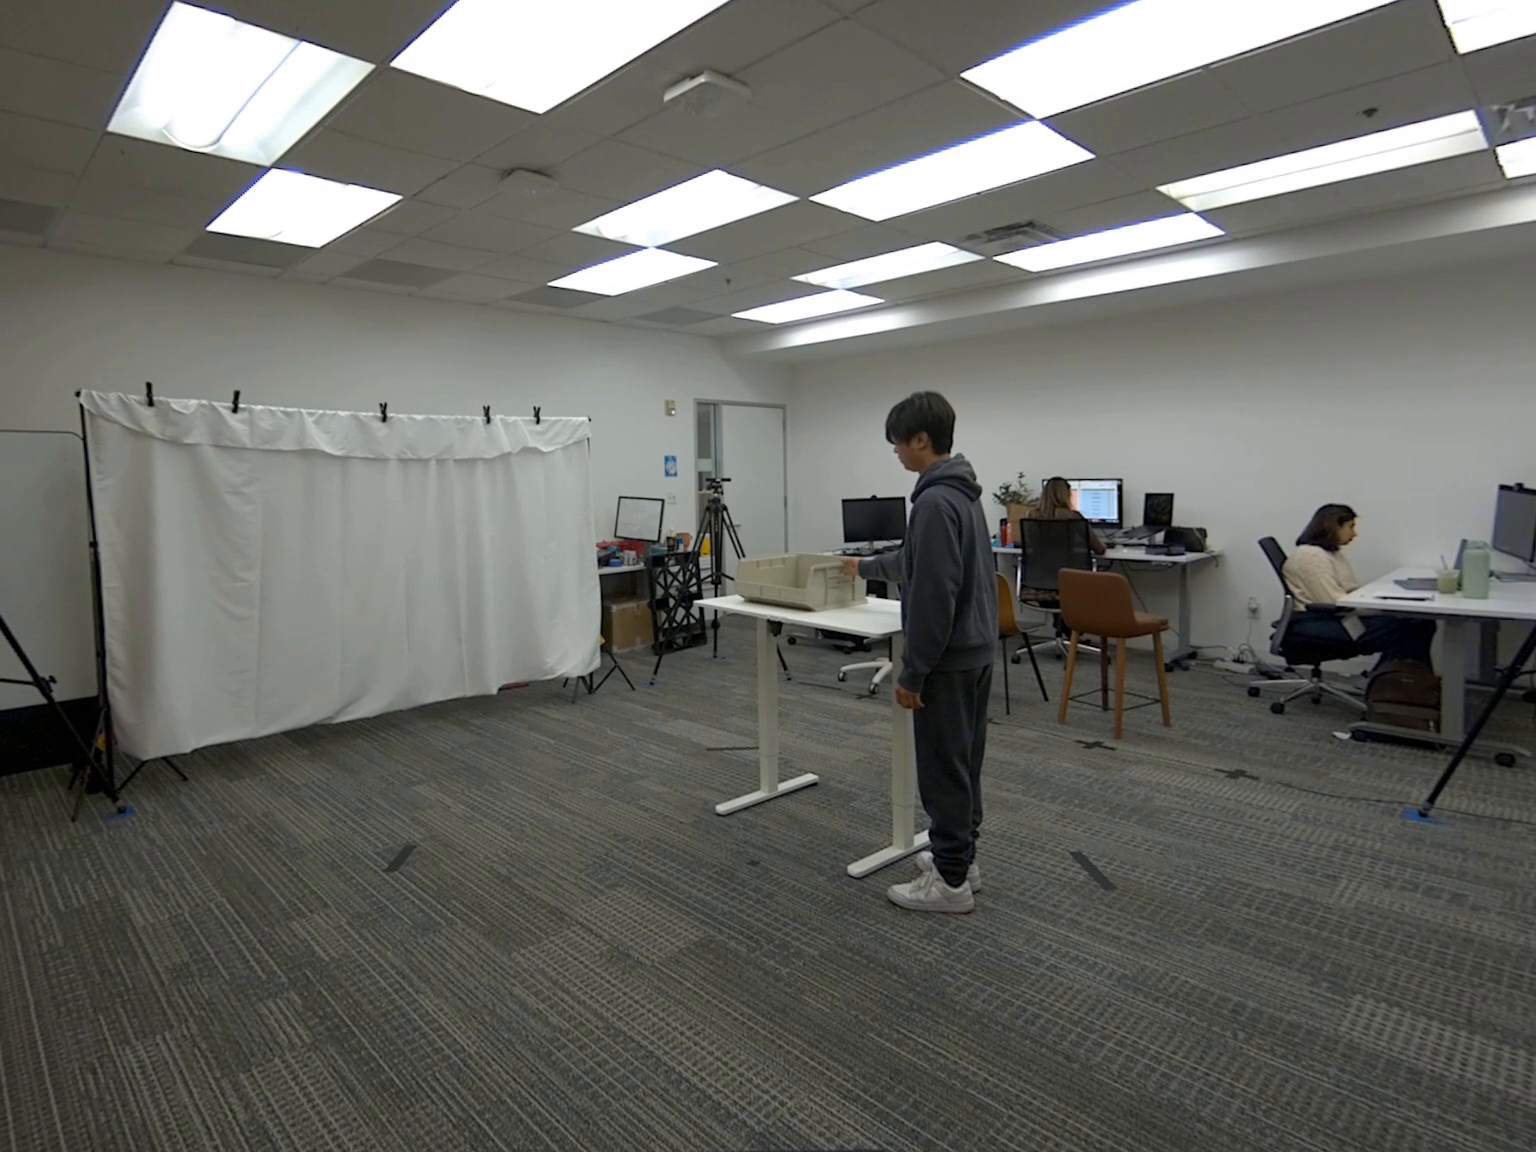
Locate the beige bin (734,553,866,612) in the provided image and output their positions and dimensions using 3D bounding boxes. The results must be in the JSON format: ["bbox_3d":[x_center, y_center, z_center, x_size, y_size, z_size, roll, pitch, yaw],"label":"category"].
[{"bbox_3d":[0.141,0.021,3.494,0.367,0.188,0.435,-6,8,-42],"label":"beige bin"}]
